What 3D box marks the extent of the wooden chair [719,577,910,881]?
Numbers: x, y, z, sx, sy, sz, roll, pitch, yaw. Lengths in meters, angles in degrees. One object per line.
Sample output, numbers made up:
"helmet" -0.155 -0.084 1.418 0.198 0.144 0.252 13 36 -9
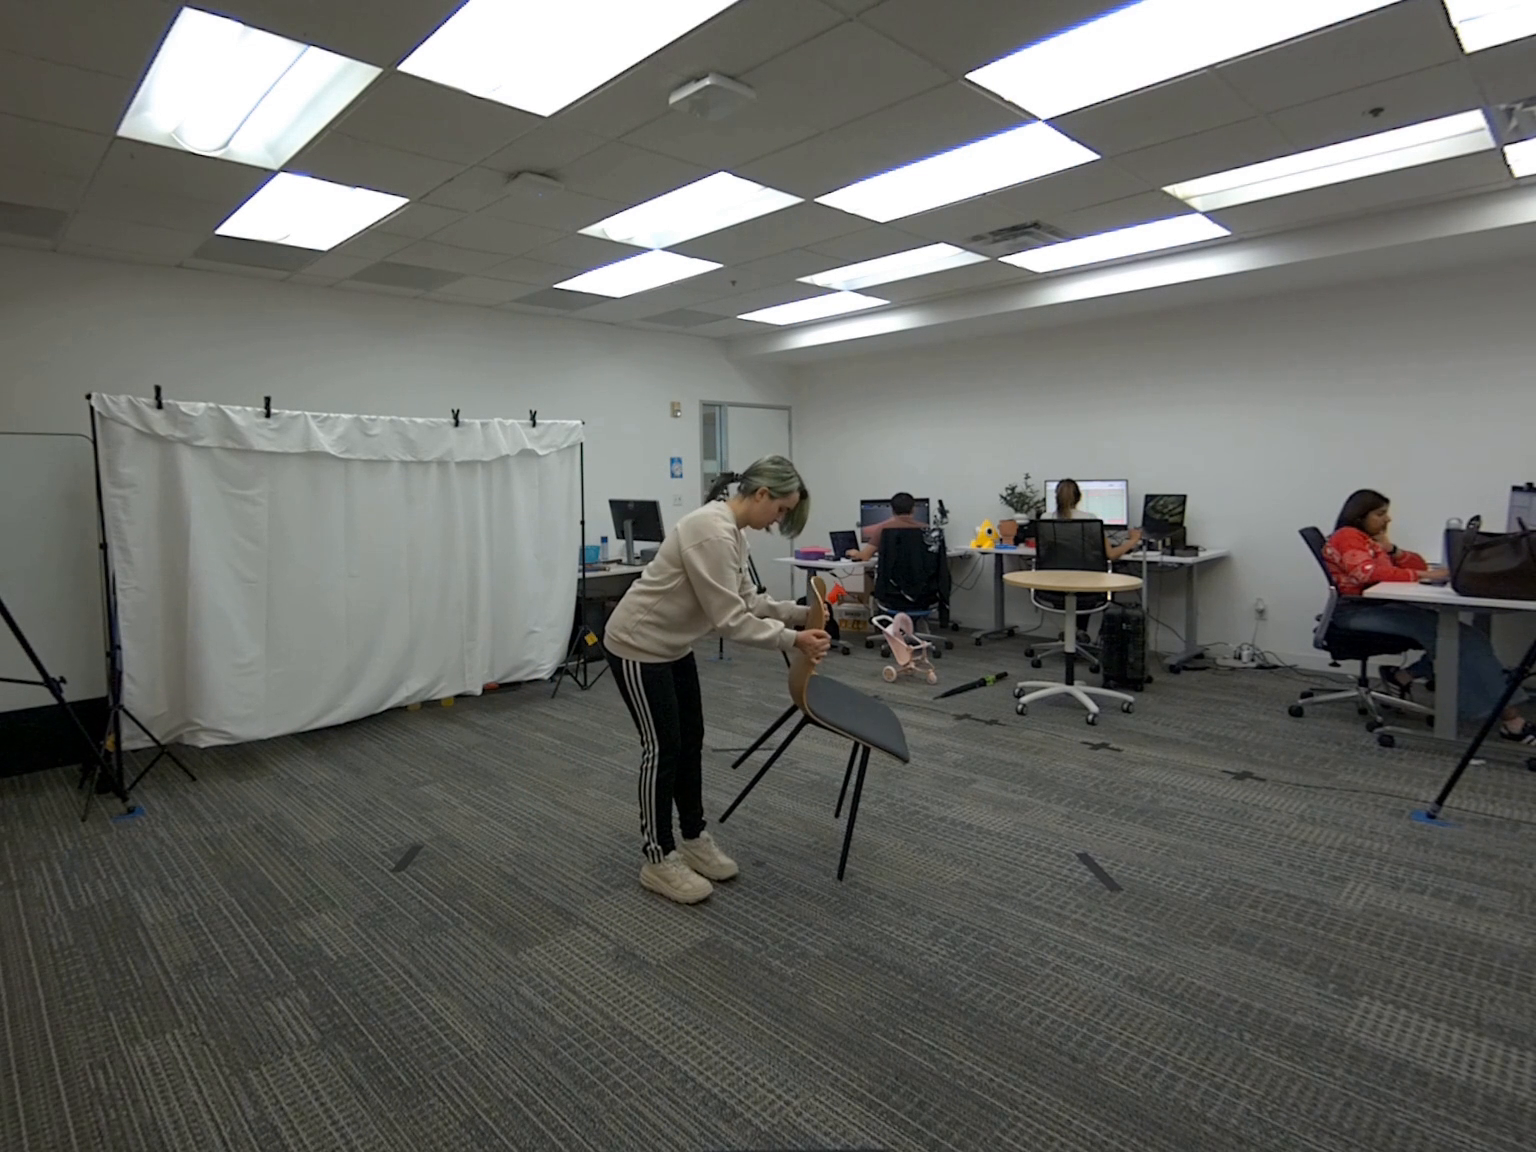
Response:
"wooden chair" 0.236 0.505 2.988 0.525 0.872 0.479 21 11 1
